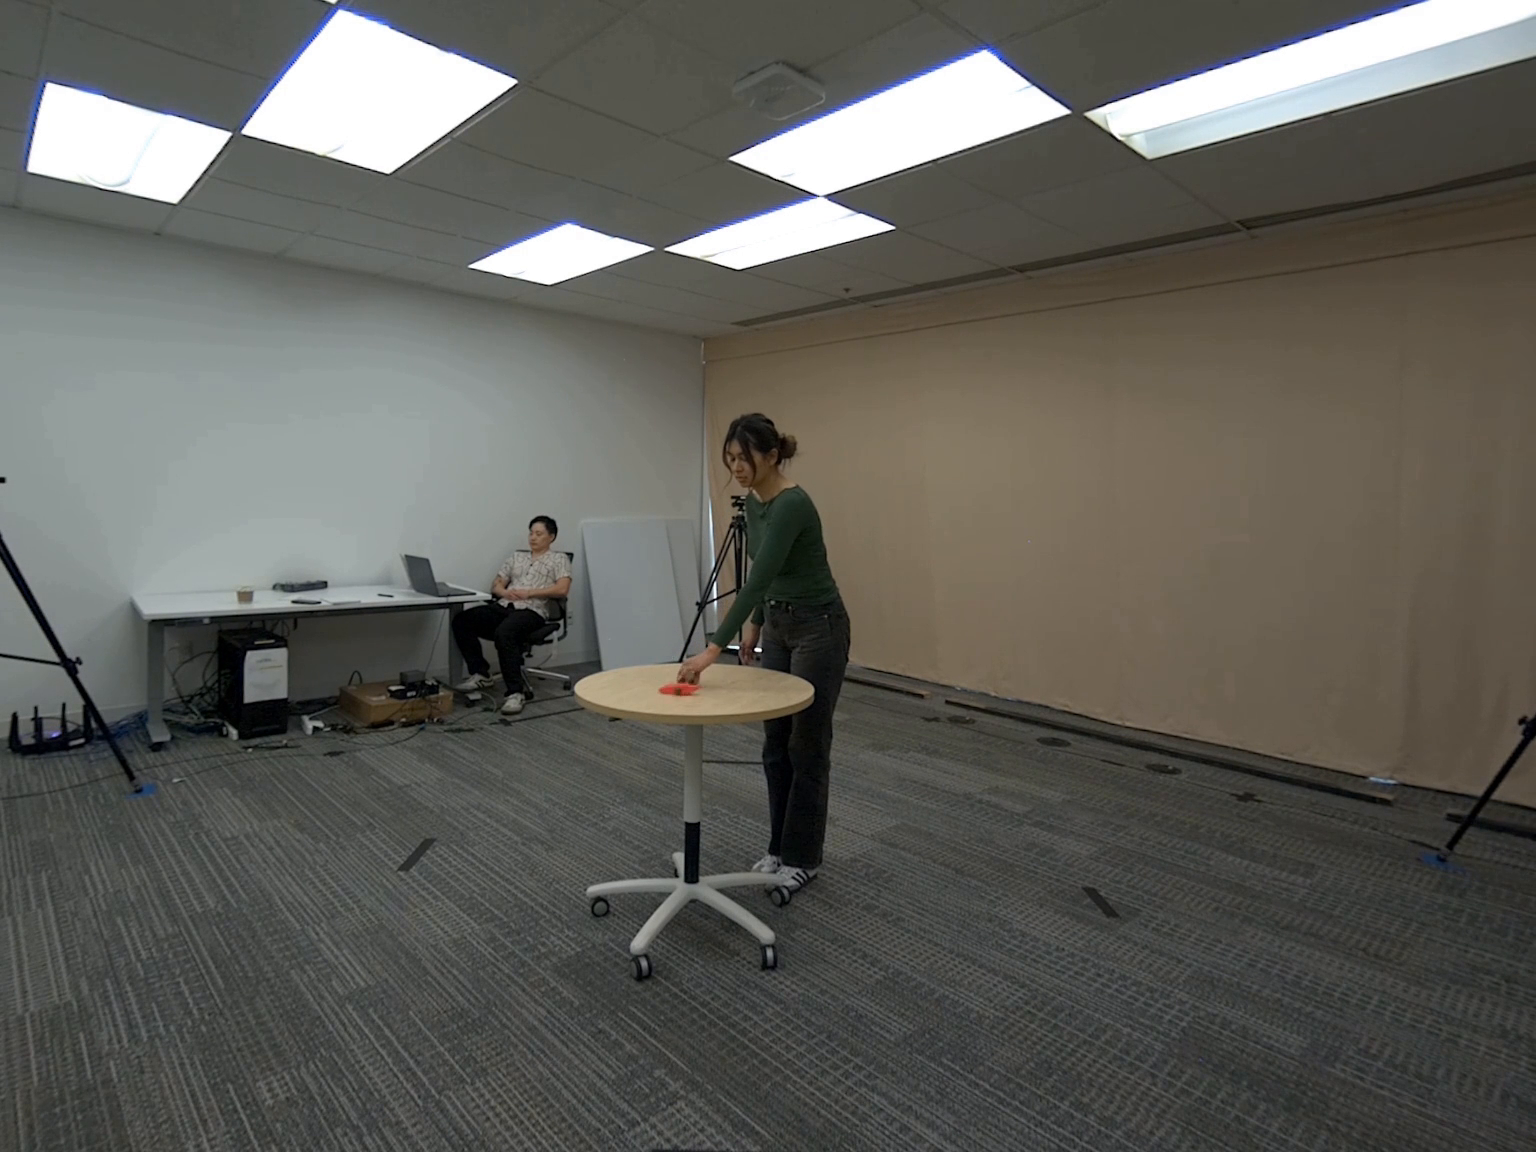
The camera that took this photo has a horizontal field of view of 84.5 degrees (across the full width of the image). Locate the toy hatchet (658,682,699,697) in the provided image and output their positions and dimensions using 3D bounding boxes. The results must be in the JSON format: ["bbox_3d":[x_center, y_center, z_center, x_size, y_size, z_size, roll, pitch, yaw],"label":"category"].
[{"bbox_3d":[-0.292,0.345,2.684,0.130,0.029,0.272,-4,3,-9],"label":"toy hatchet"}]
